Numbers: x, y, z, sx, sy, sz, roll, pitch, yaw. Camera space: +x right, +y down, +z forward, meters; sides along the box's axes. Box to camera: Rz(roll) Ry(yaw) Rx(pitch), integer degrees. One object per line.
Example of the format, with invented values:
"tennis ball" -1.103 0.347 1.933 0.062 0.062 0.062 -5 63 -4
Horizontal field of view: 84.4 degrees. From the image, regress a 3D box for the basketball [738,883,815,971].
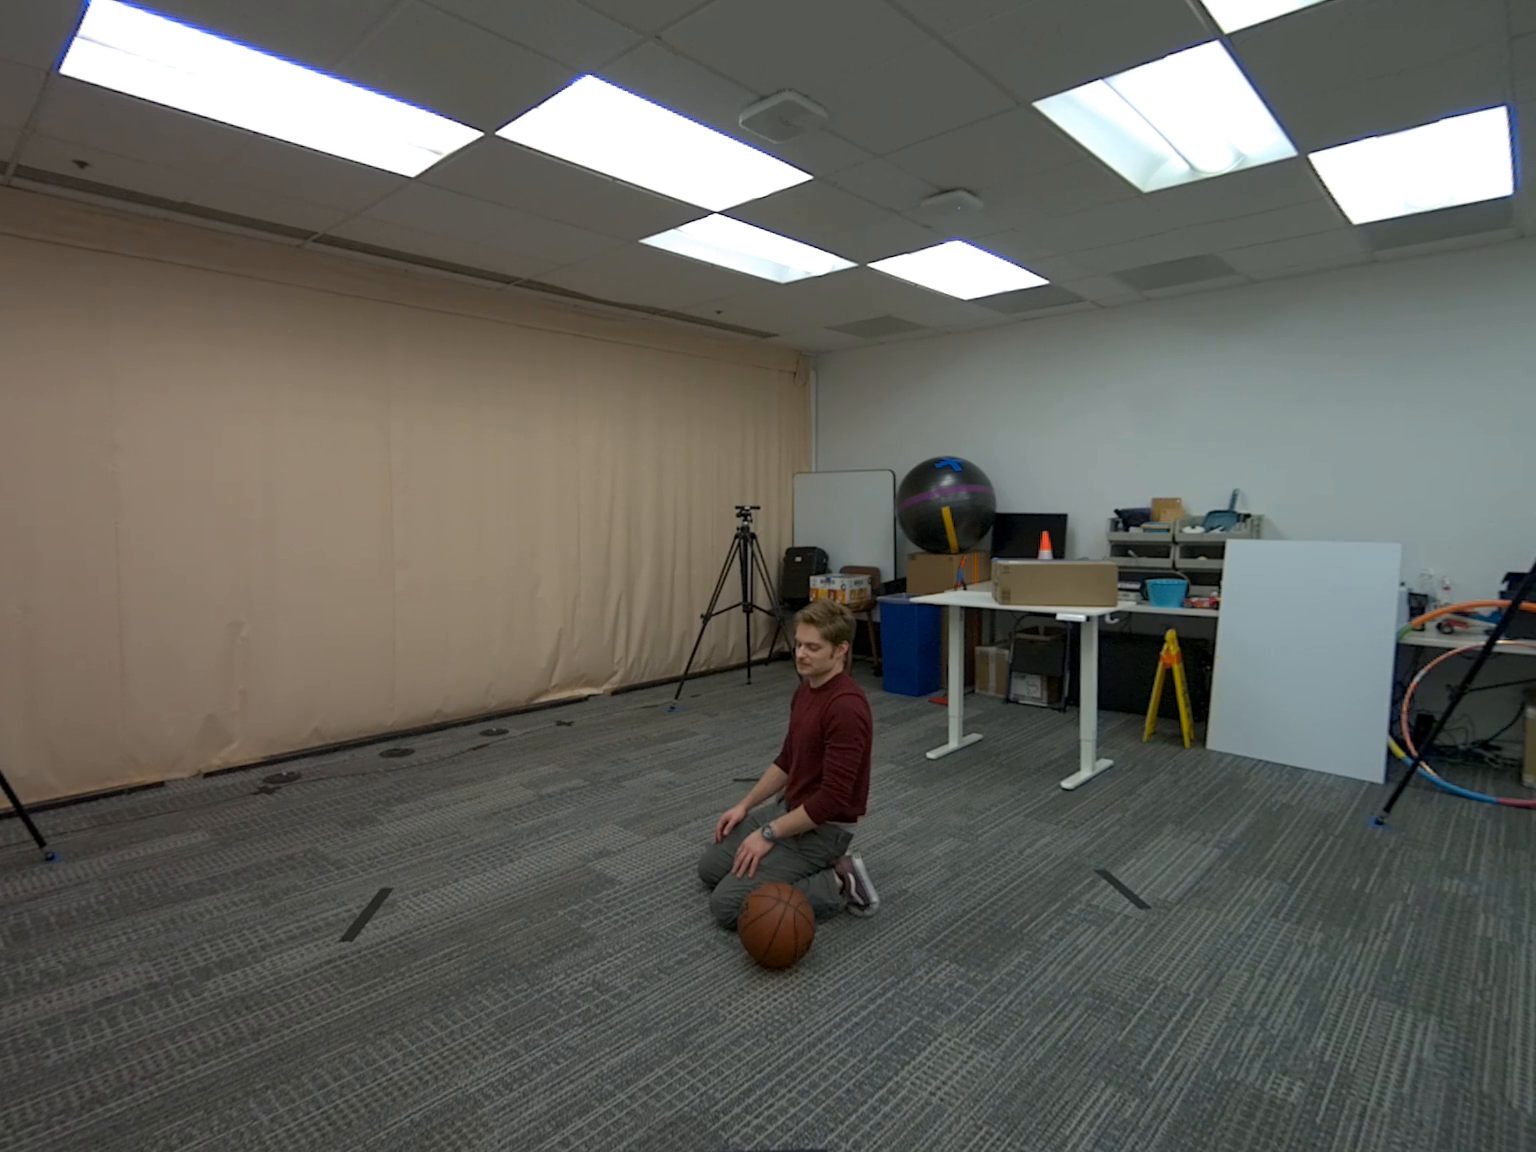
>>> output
"basketball" 0.021 1.056 2.567 0.236 0.235 0.237 0 4 -2
